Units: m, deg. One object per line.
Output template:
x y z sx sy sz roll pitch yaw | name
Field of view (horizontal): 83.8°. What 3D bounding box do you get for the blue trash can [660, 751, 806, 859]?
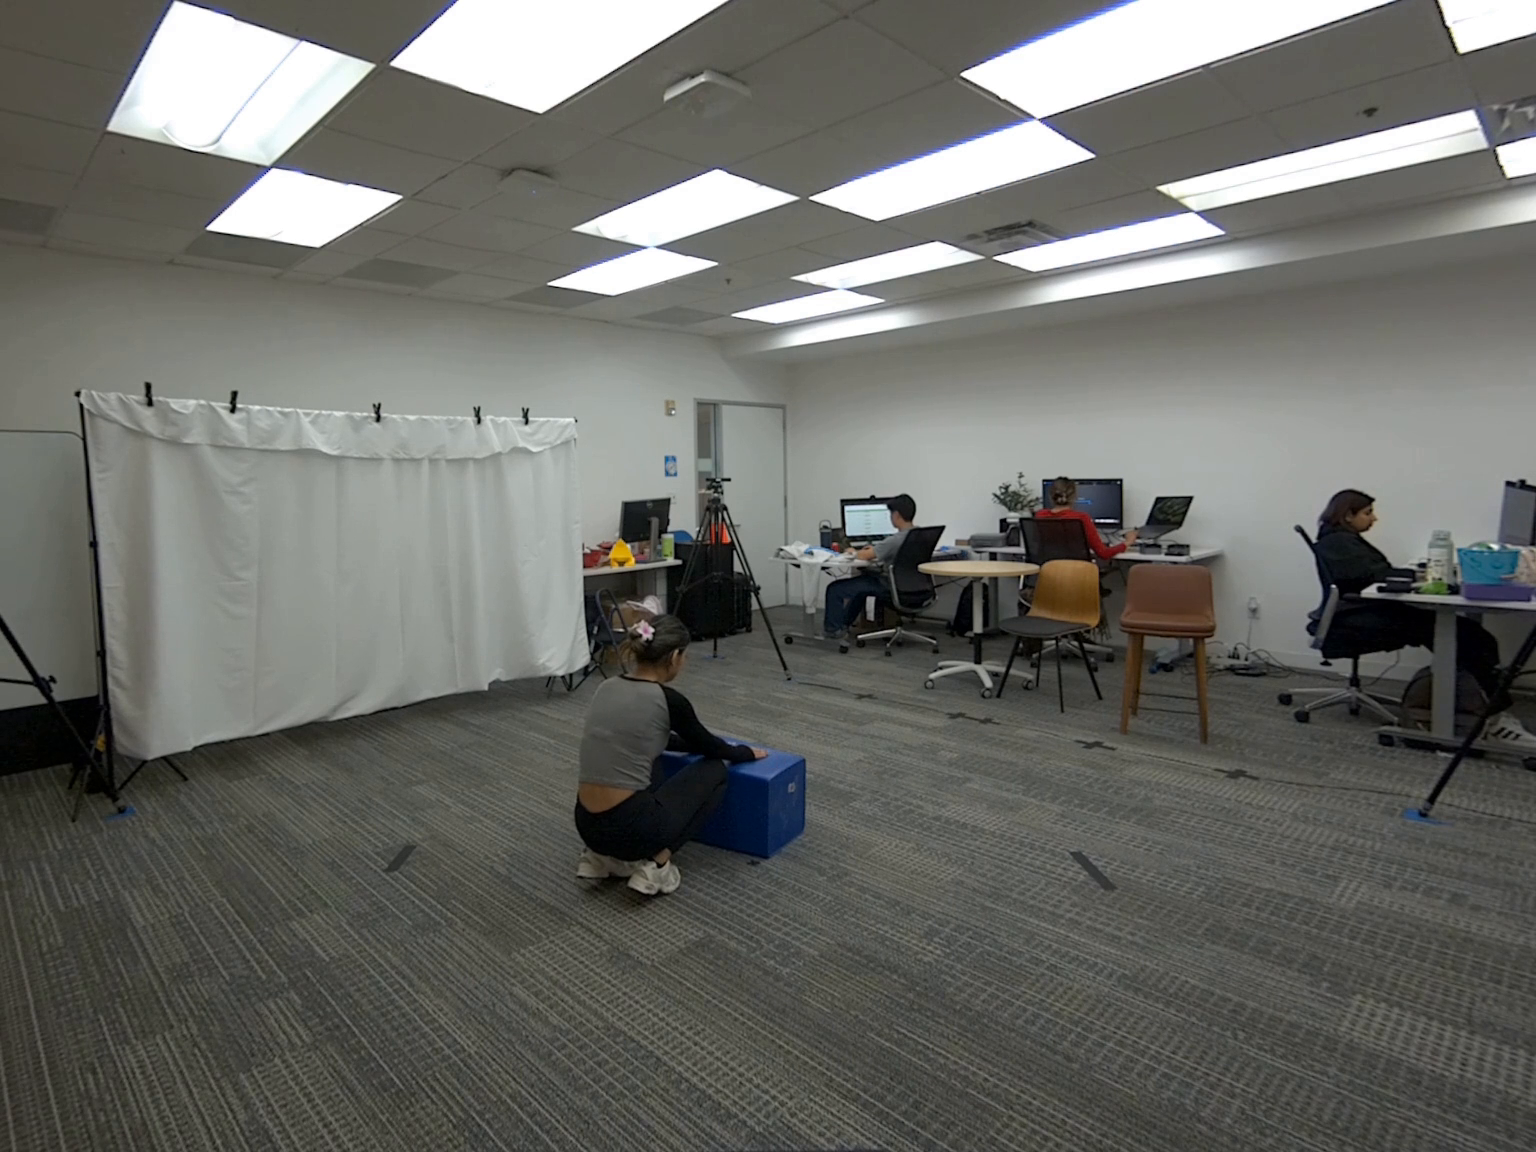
-0.234 0.842 3.425 0.734 0.376 0.365 5 6 31 | blue trash can
